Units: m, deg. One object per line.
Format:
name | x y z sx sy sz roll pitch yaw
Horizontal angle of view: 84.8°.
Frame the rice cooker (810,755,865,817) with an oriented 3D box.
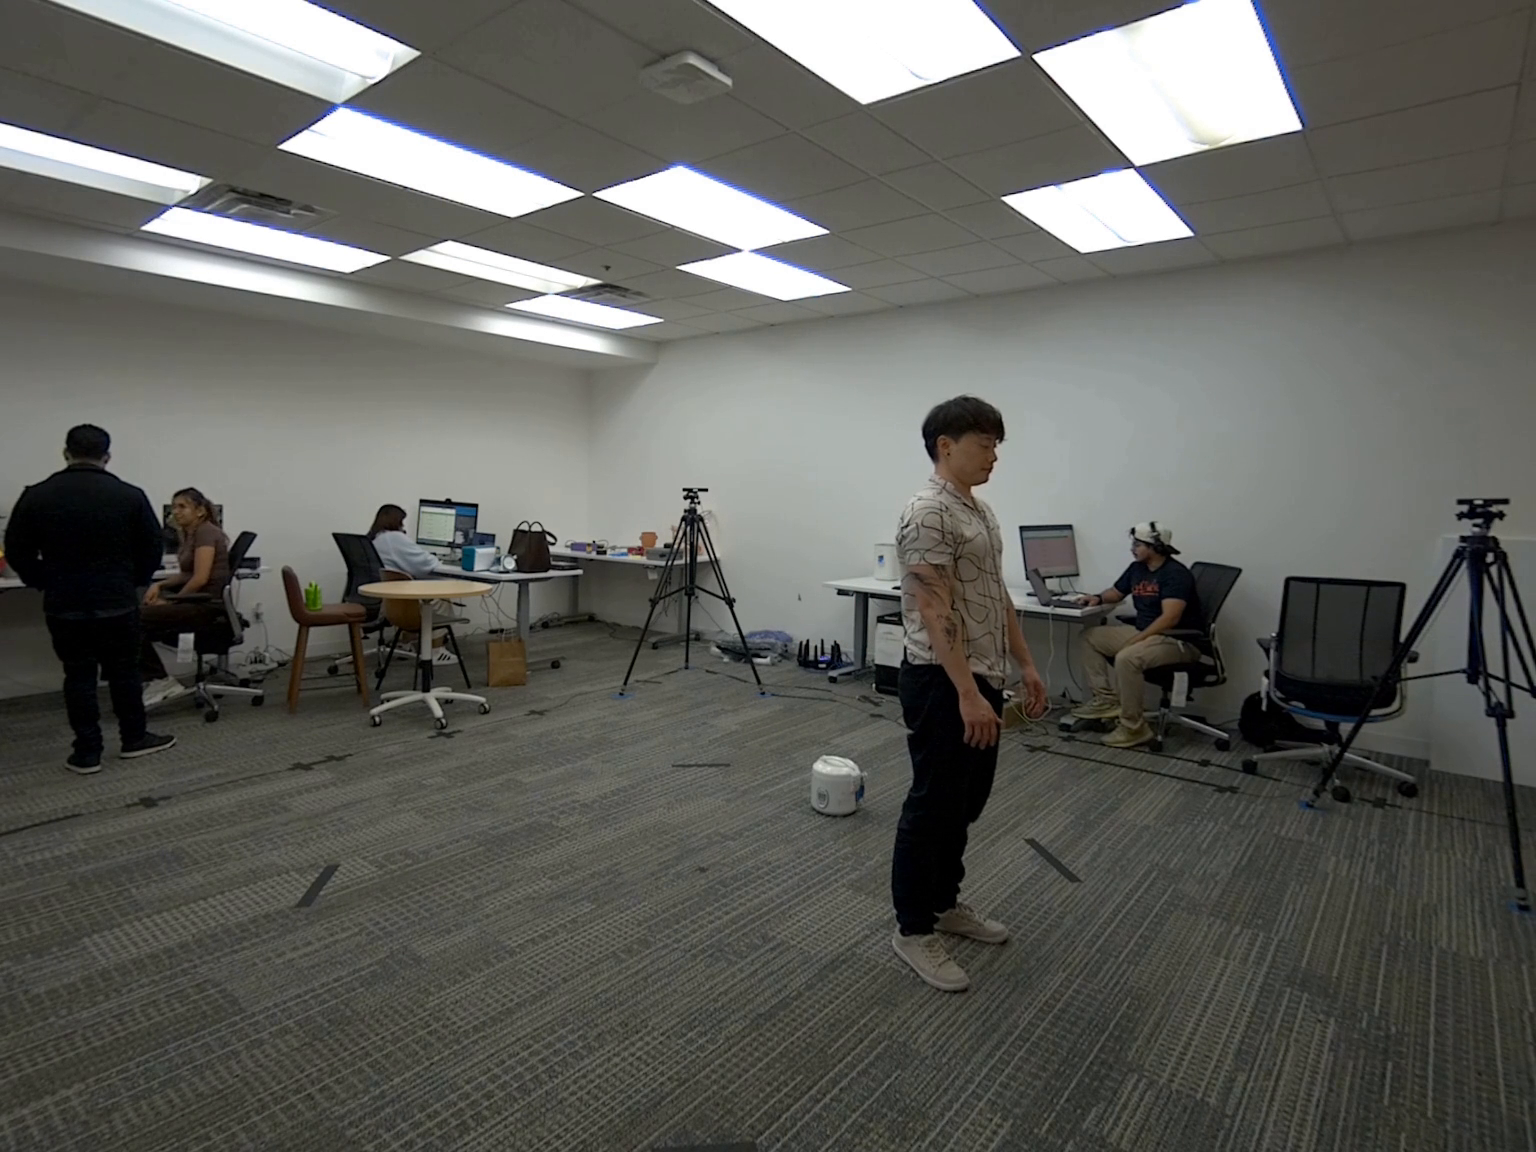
rice cooker | 0.287 0.902 3.721 0.228 0.232 0.211 4 5 37
